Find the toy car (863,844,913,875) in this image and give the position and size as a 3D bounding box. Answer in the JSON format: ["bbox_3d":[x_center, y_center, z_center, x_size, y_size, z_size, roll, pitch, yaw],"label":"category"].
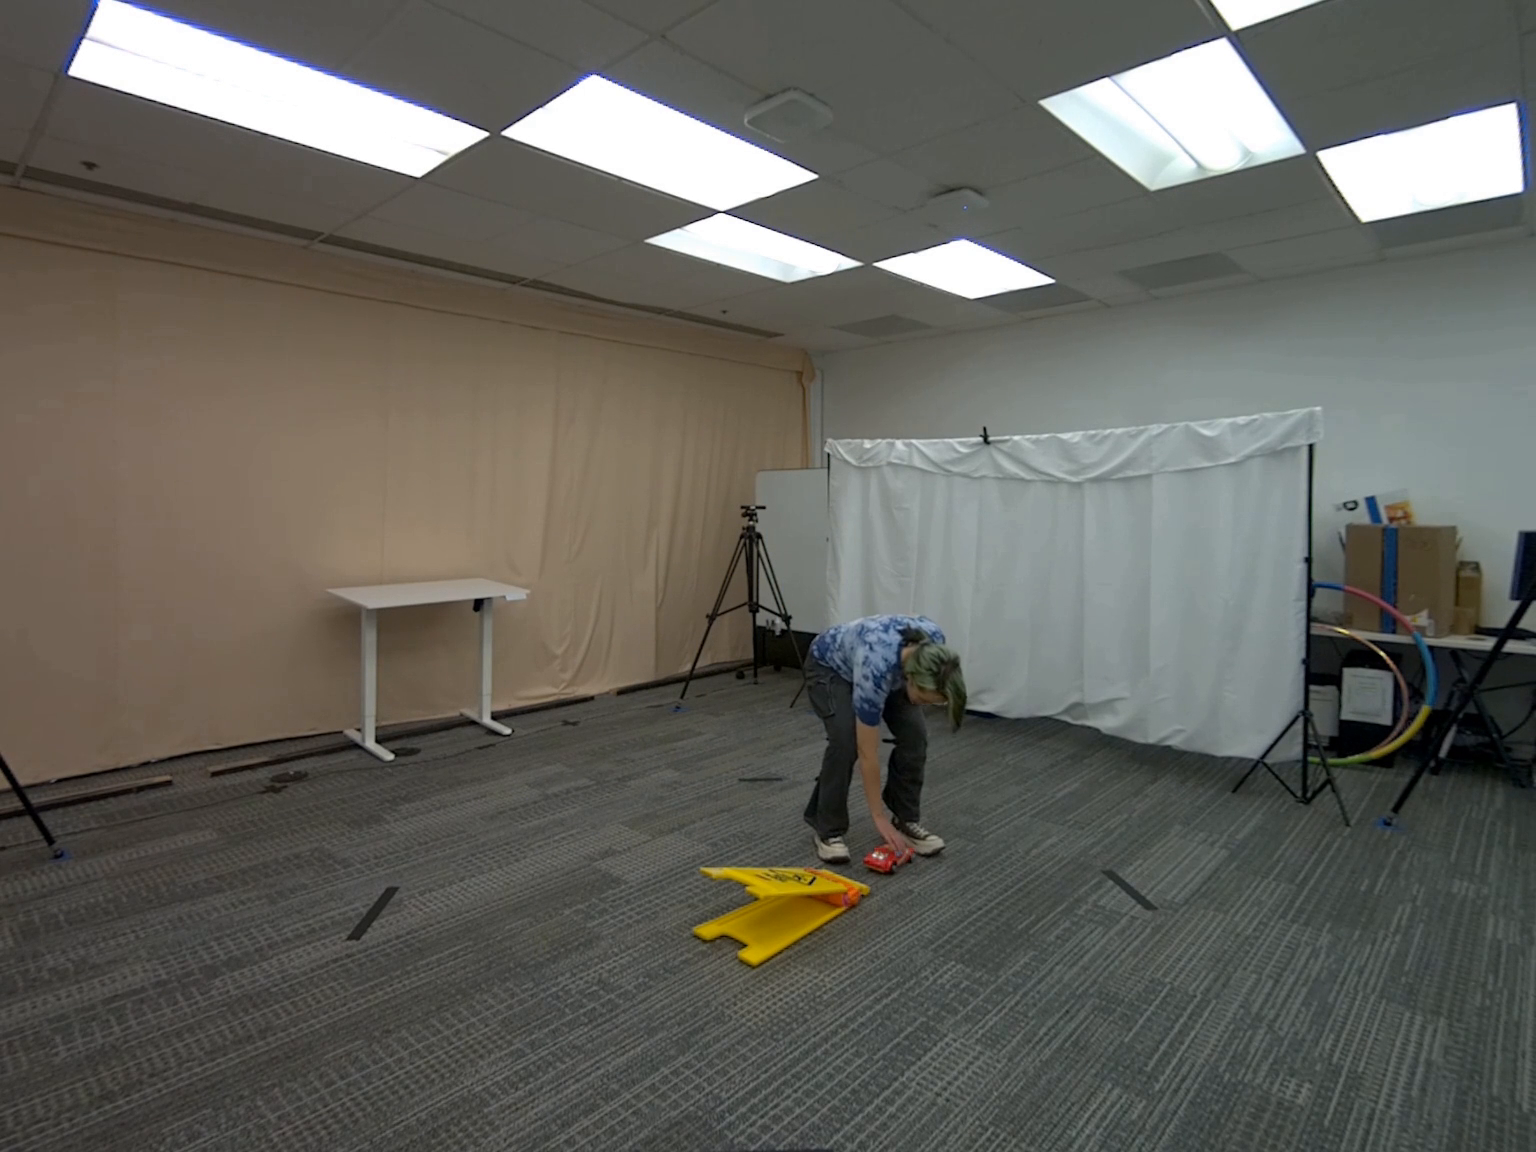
[{"bbox_3d":[0.466,1.091,3.250,0.135,0.083,0.246,5,-5,41],"label":"toy car"}]
